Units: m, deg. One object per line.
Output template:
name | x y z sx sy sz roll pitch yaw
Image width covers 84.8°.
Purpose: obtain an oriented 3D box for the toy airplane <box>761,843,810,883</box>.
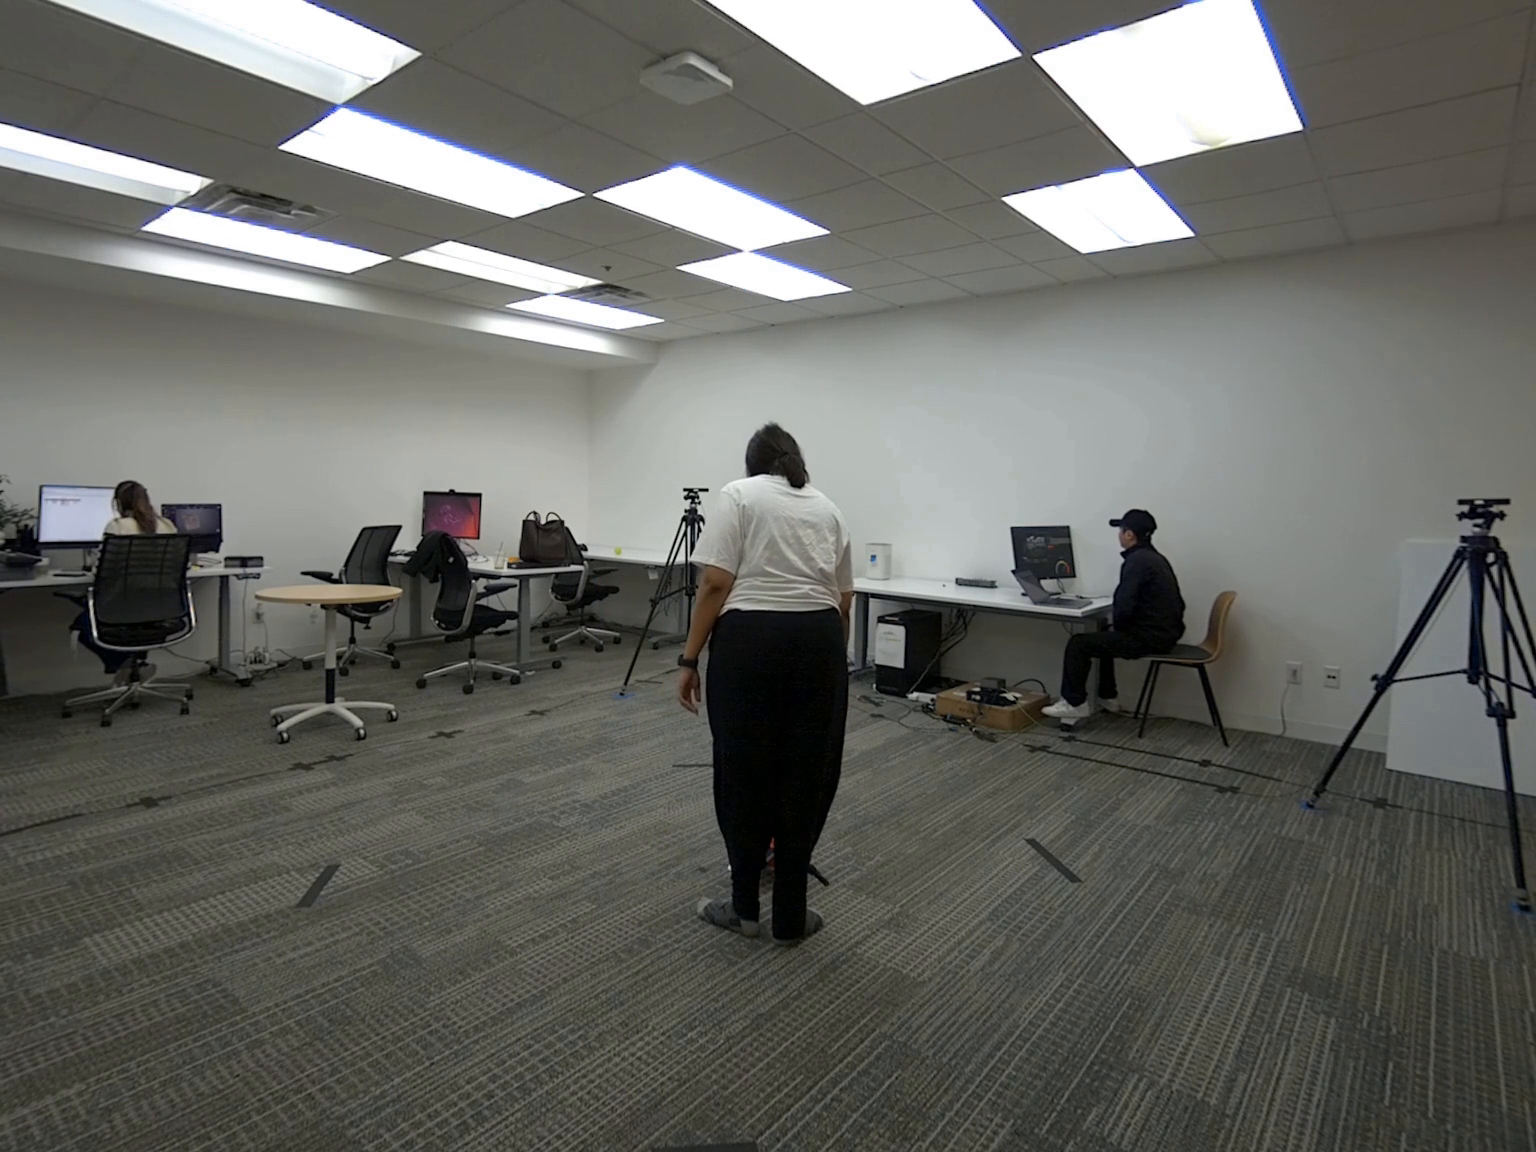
toy airplane | -0.014 0.998 3.047 0.253 0.156 0.258 3 4 7
